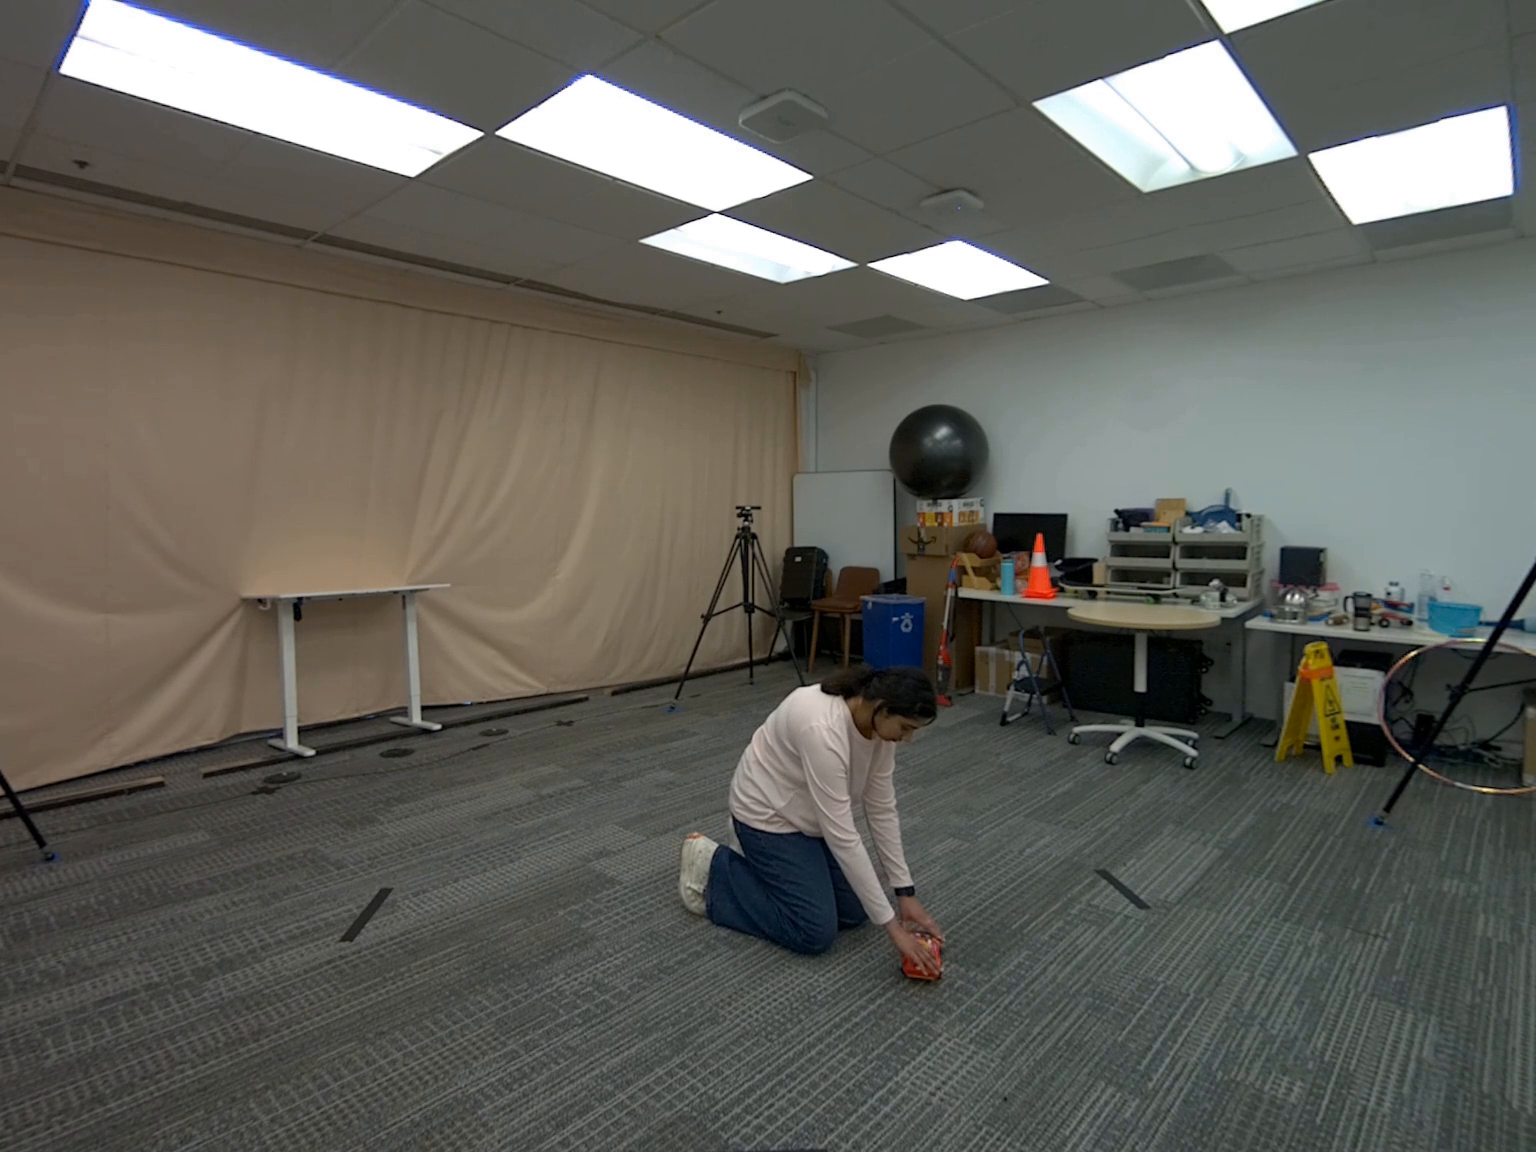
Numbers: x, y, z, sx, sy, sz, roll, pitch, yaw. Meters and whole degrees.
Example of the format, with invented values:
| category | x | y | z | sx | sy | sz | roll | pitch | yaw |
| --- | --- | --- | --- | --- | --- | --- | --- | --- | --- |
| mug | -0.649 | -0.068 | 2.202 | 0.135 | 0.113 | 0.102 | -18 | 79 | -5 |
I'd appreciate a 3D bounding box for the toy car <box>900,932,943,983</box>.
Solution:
| category | x | y | z | sx | sy | sz | roll | pitch | yaw |
| --- | --- | --- | --- | --- | --- | --- | --- | --- | --- |
| toy car | 0.472 | 1.153 | 2.538 | 0.132 | 0.083 | 0.250 | 2 | -4 | 11 |
